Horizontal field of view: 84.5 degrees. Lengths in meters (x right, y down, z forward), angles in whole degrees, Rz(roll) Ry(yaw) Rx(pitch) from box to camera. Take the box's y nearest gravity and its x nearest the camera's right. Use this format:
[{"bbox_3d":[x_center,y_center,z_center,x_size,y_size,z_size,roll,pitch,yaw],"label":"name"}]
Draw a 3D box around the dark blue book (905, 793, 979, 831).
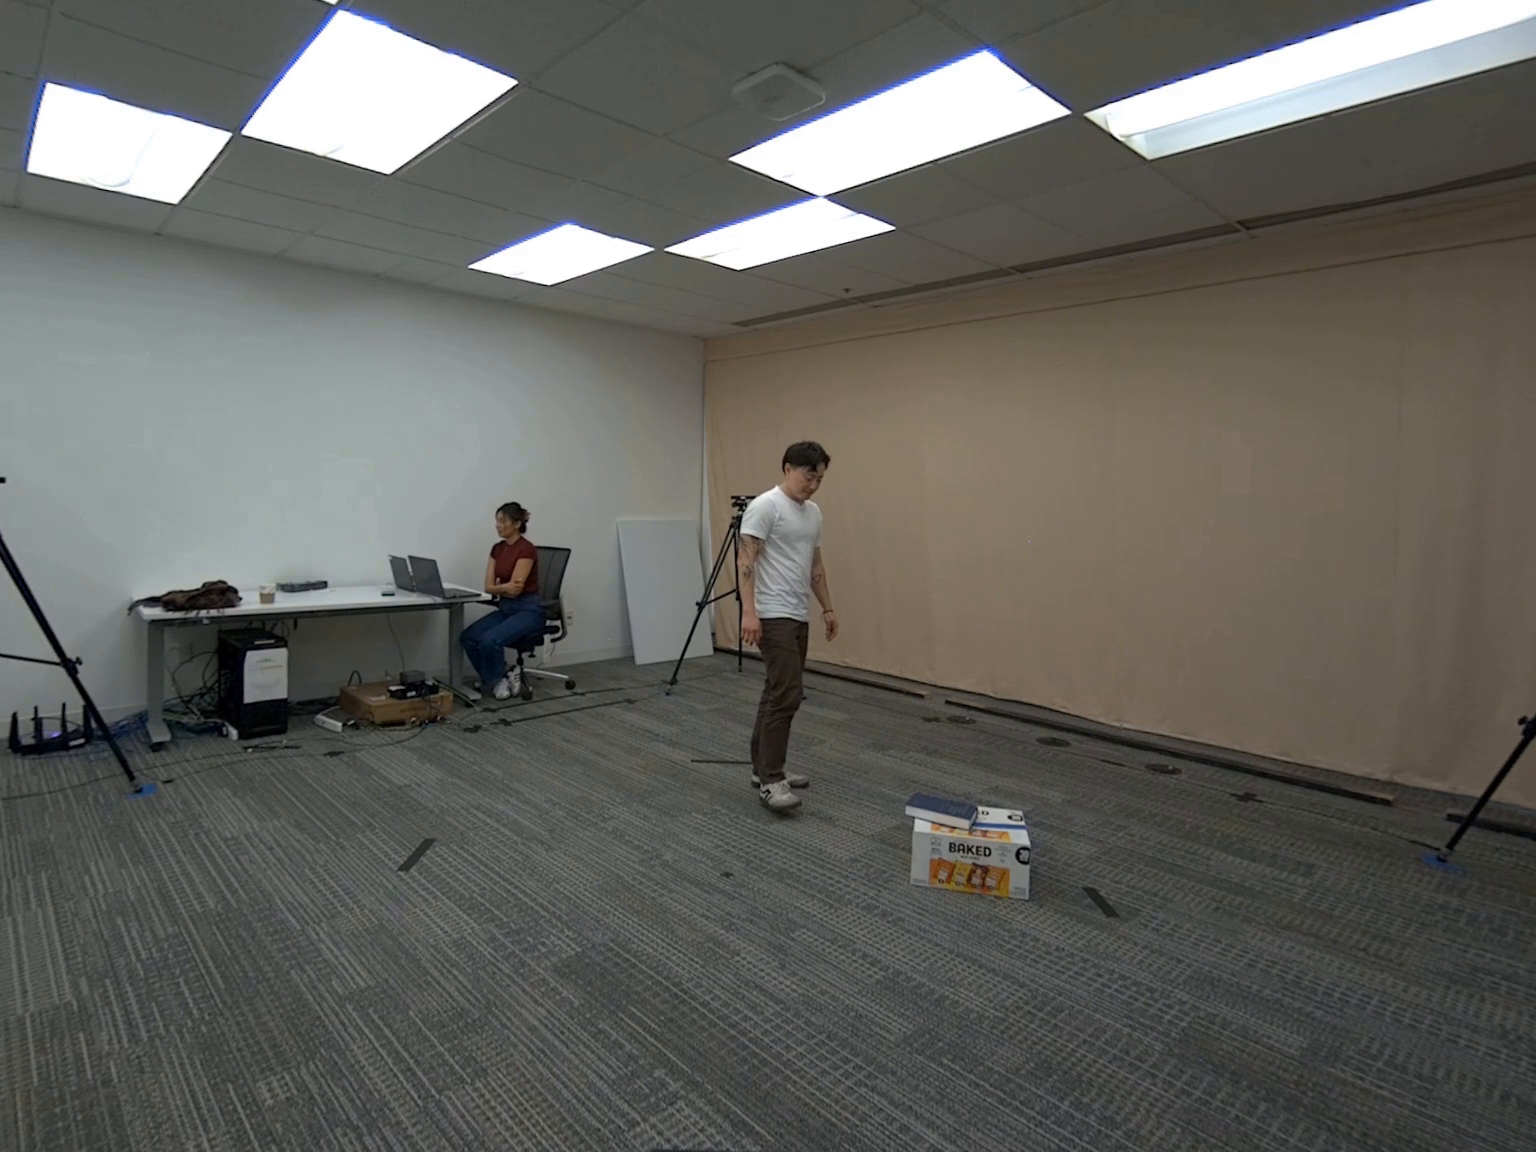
[{"bbox_3d":[0.660,0.895,3.200,0.250,0.045,0.161,7,6,24],"label":"dark blue book"}]
